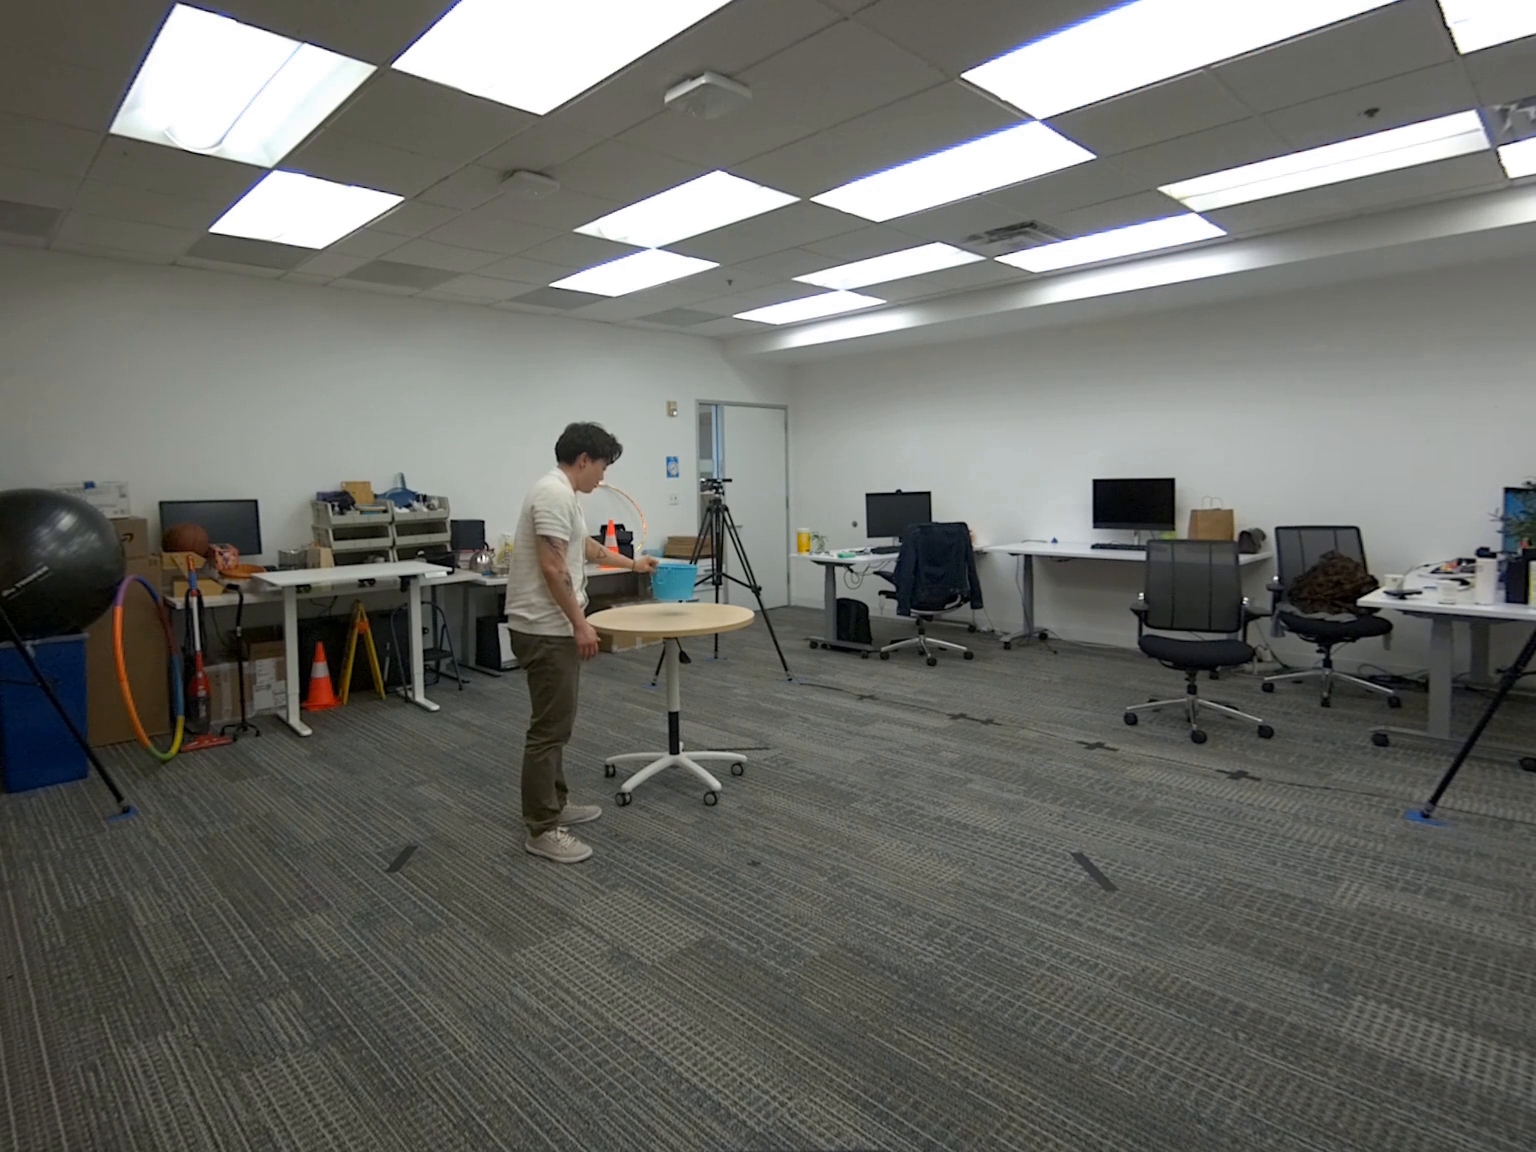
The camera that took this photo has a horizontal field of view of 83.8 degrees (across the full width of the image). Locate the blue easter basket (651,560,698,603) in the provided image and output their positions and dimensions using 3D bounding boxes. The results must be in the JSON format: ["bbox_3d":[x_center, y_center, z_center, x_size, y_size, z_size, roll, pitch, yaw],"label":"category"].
[{"bbox_3d":[-0.446,0.021,3.947,0.243,0.156,0.244,2,2,-2],"label":"blue easter basket"}]
